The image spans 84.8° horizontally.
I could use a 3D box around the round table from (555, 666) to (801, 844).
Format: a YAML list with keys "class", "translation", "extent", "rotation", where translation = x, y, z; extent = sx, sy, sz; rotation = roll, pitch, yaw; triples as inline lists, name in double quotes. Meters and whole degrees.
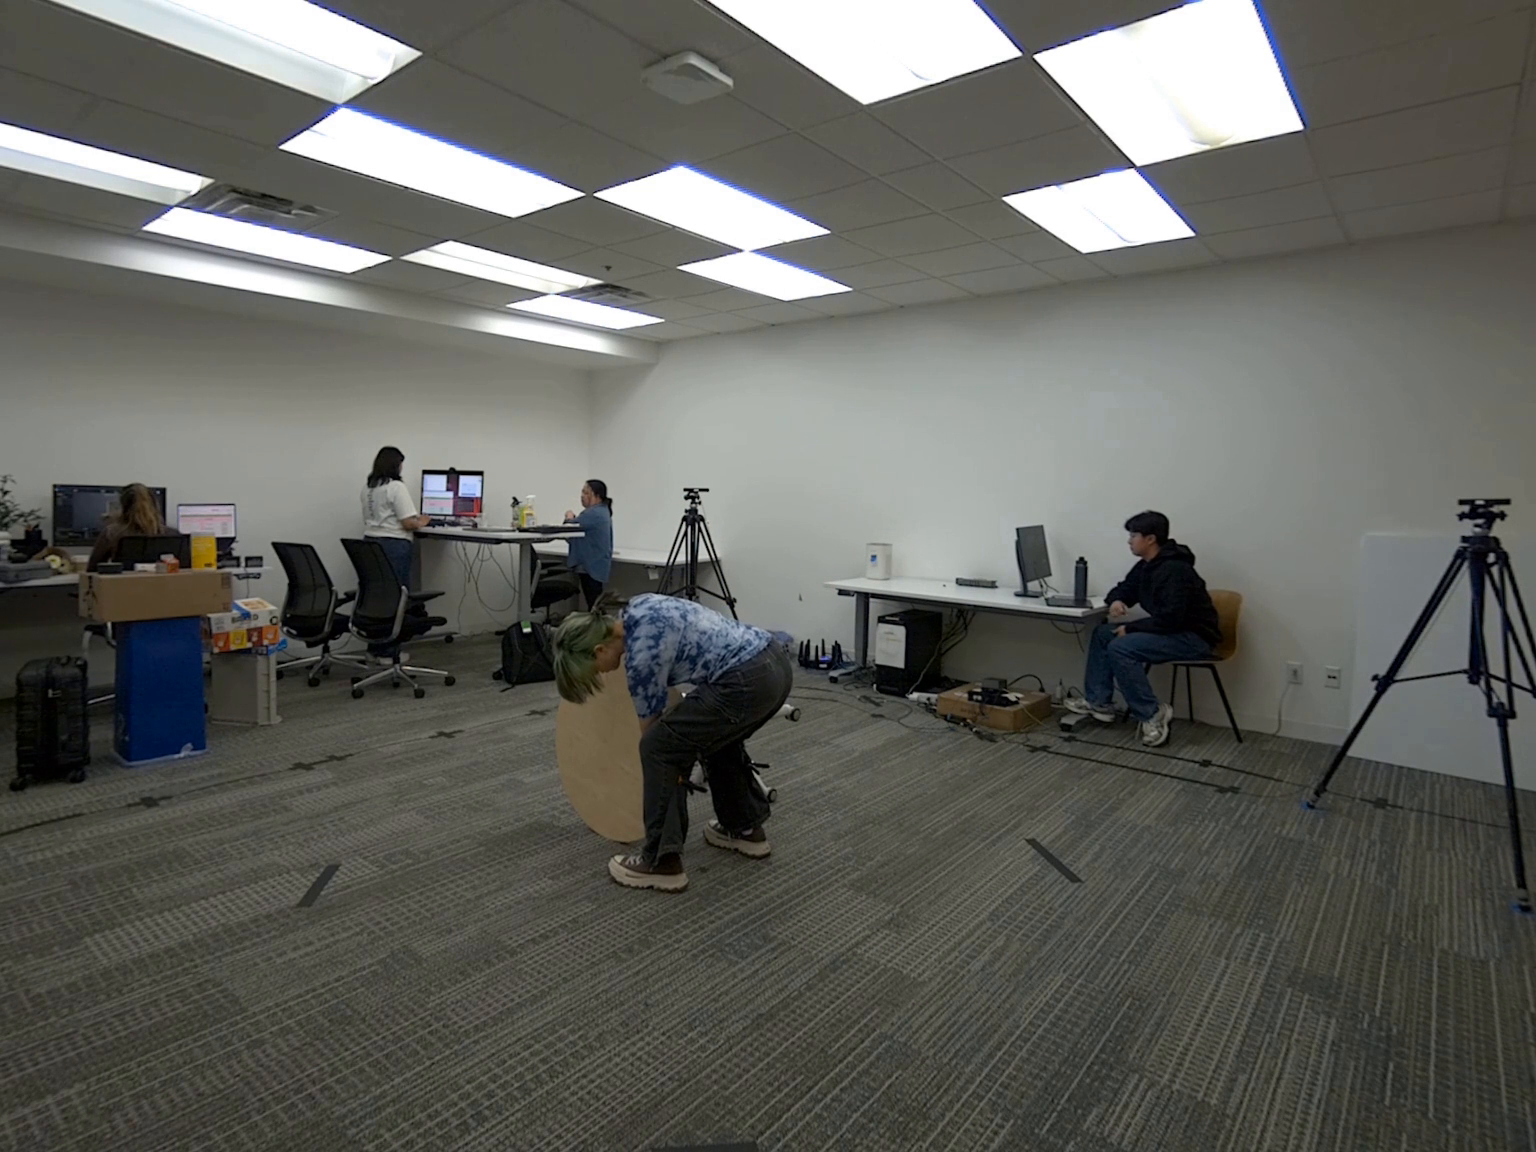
- class: "round table"
  translation: [-0.380, 0.669, 3.682]
  extent: [0.789, 0.765, 0.767]
  rotation: [4, -1, 39]
